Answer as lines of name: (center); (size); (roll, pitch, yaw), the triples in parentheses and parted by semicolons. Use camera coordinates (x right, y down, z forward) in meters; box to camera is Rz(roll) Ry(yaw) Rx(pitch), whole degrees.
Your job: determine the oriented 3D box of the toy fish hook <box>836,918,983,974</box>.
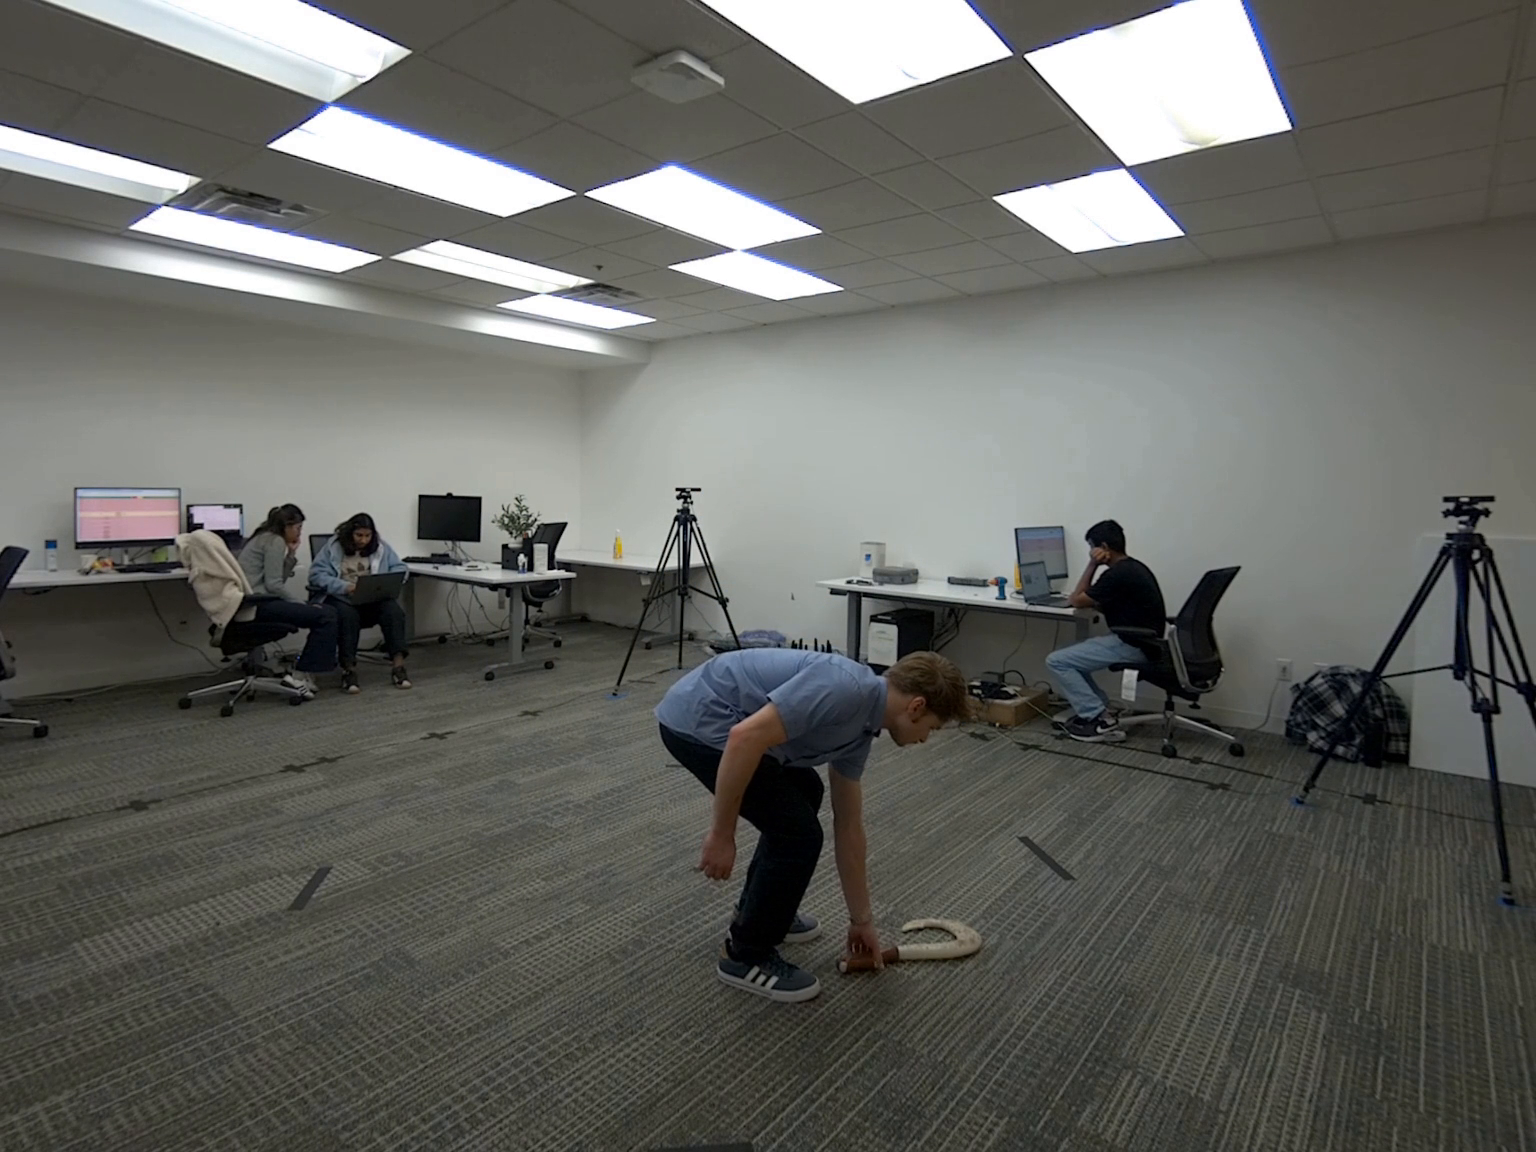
toy fish hook: (0.408, 1.119, 2.586); (0.495, 0.048, 0.229); (1, -2, -23)
